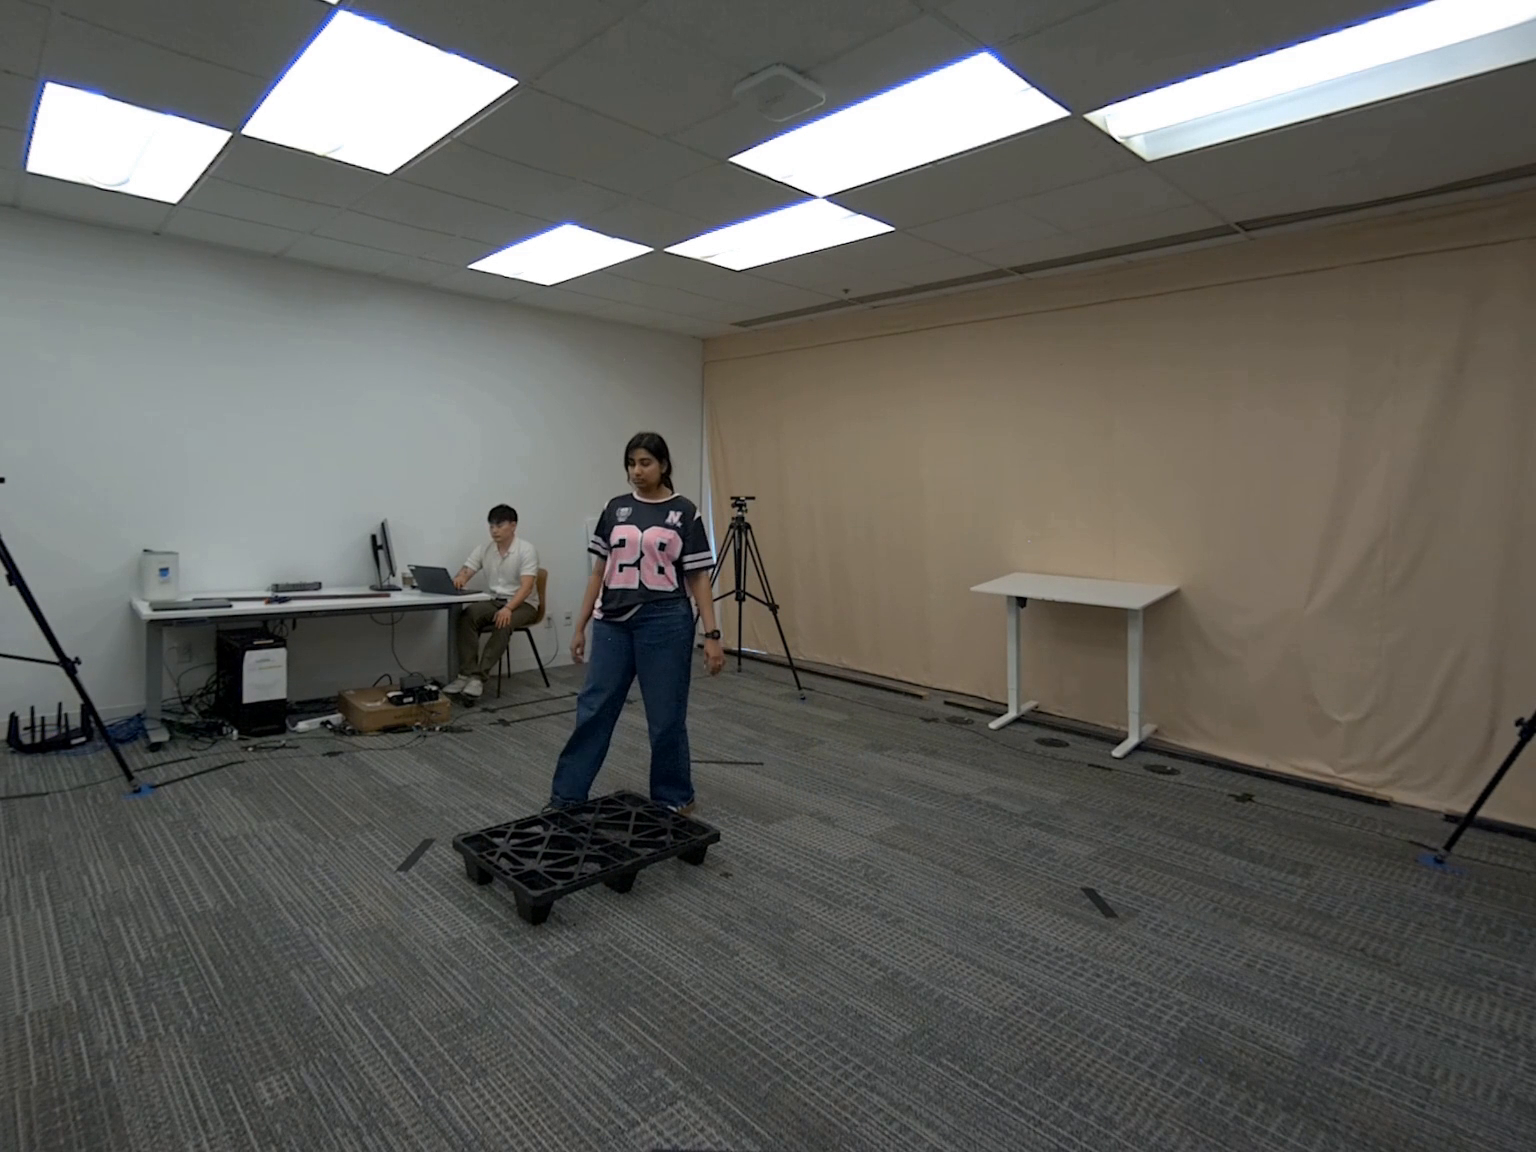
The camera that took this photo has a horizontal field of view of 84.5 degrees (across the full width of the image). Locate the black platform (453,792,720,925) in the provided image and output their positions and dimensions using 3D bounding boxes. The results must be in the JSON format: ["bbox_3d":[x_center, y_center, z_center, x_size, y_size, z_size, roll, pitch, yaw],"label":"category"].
[{"bbox_3d":[-0.665,1.026,3.119,0.787,0.143,0.621,-4,8,-44],"label":"black platform"}]
